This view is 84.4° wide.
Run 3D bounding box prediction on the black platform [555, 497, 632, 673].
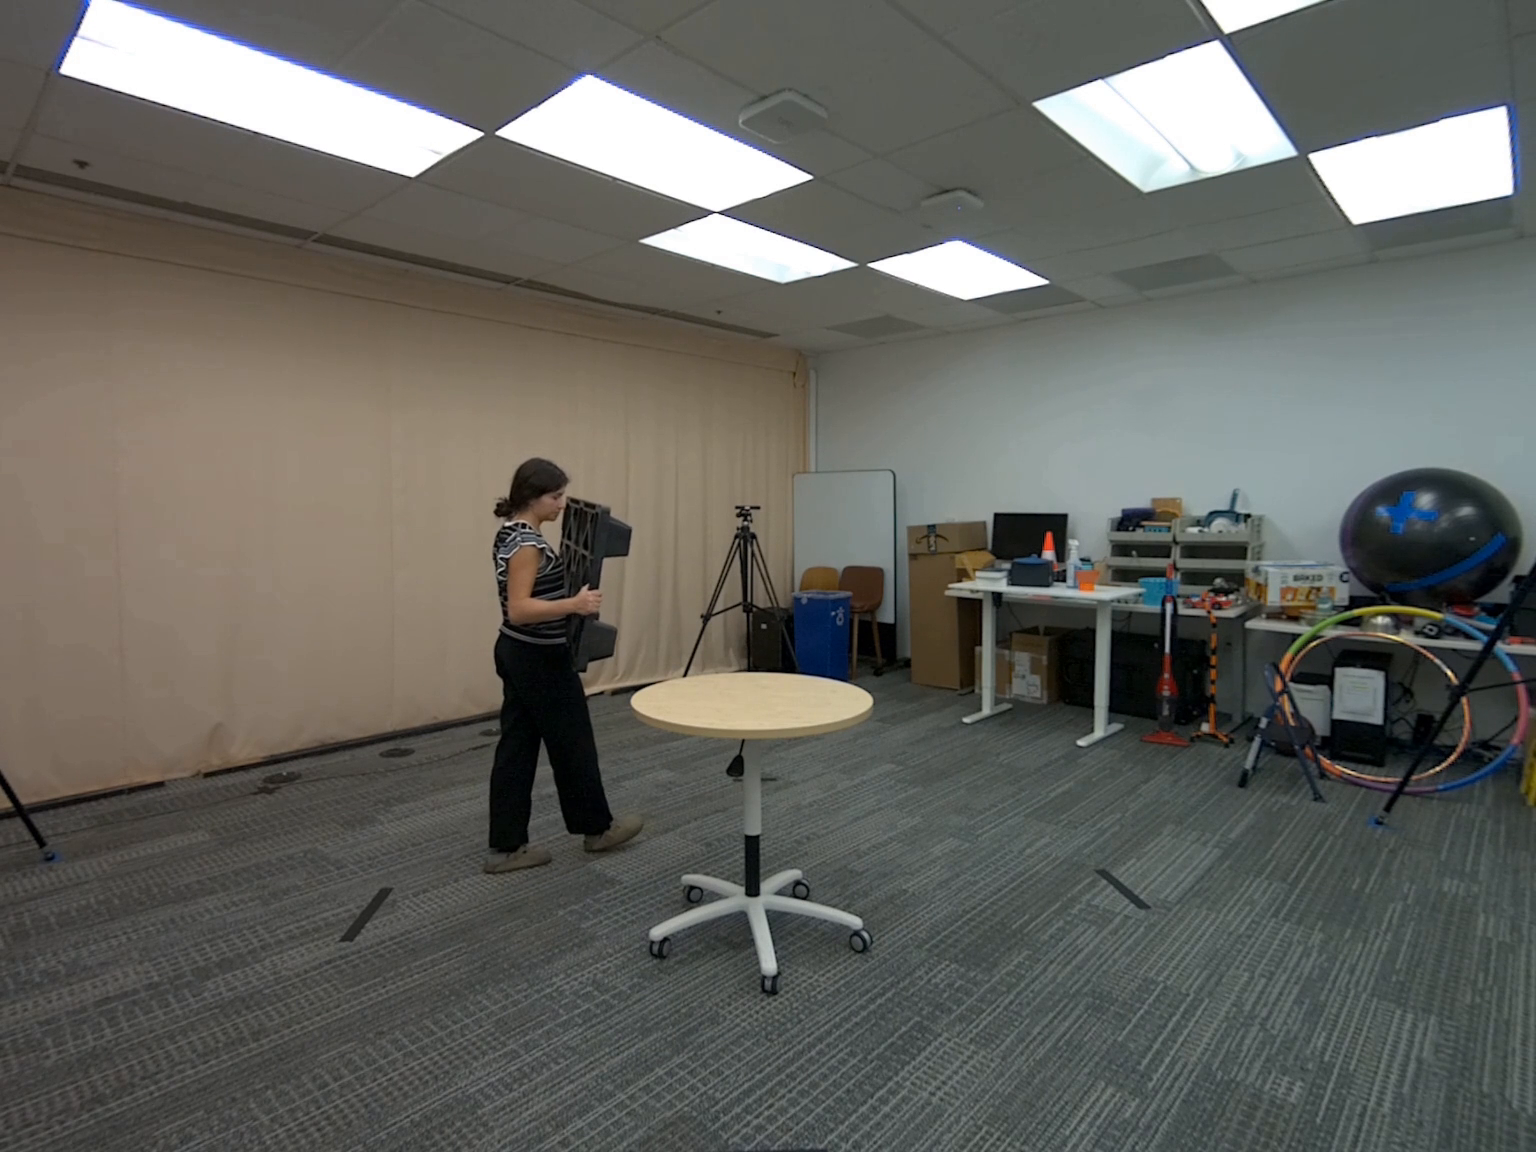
[{"bbox_3d":[-0.710,0.002,3.347,0.140,0.604,0.825,7,4,-22],"label":"black platform"}]
